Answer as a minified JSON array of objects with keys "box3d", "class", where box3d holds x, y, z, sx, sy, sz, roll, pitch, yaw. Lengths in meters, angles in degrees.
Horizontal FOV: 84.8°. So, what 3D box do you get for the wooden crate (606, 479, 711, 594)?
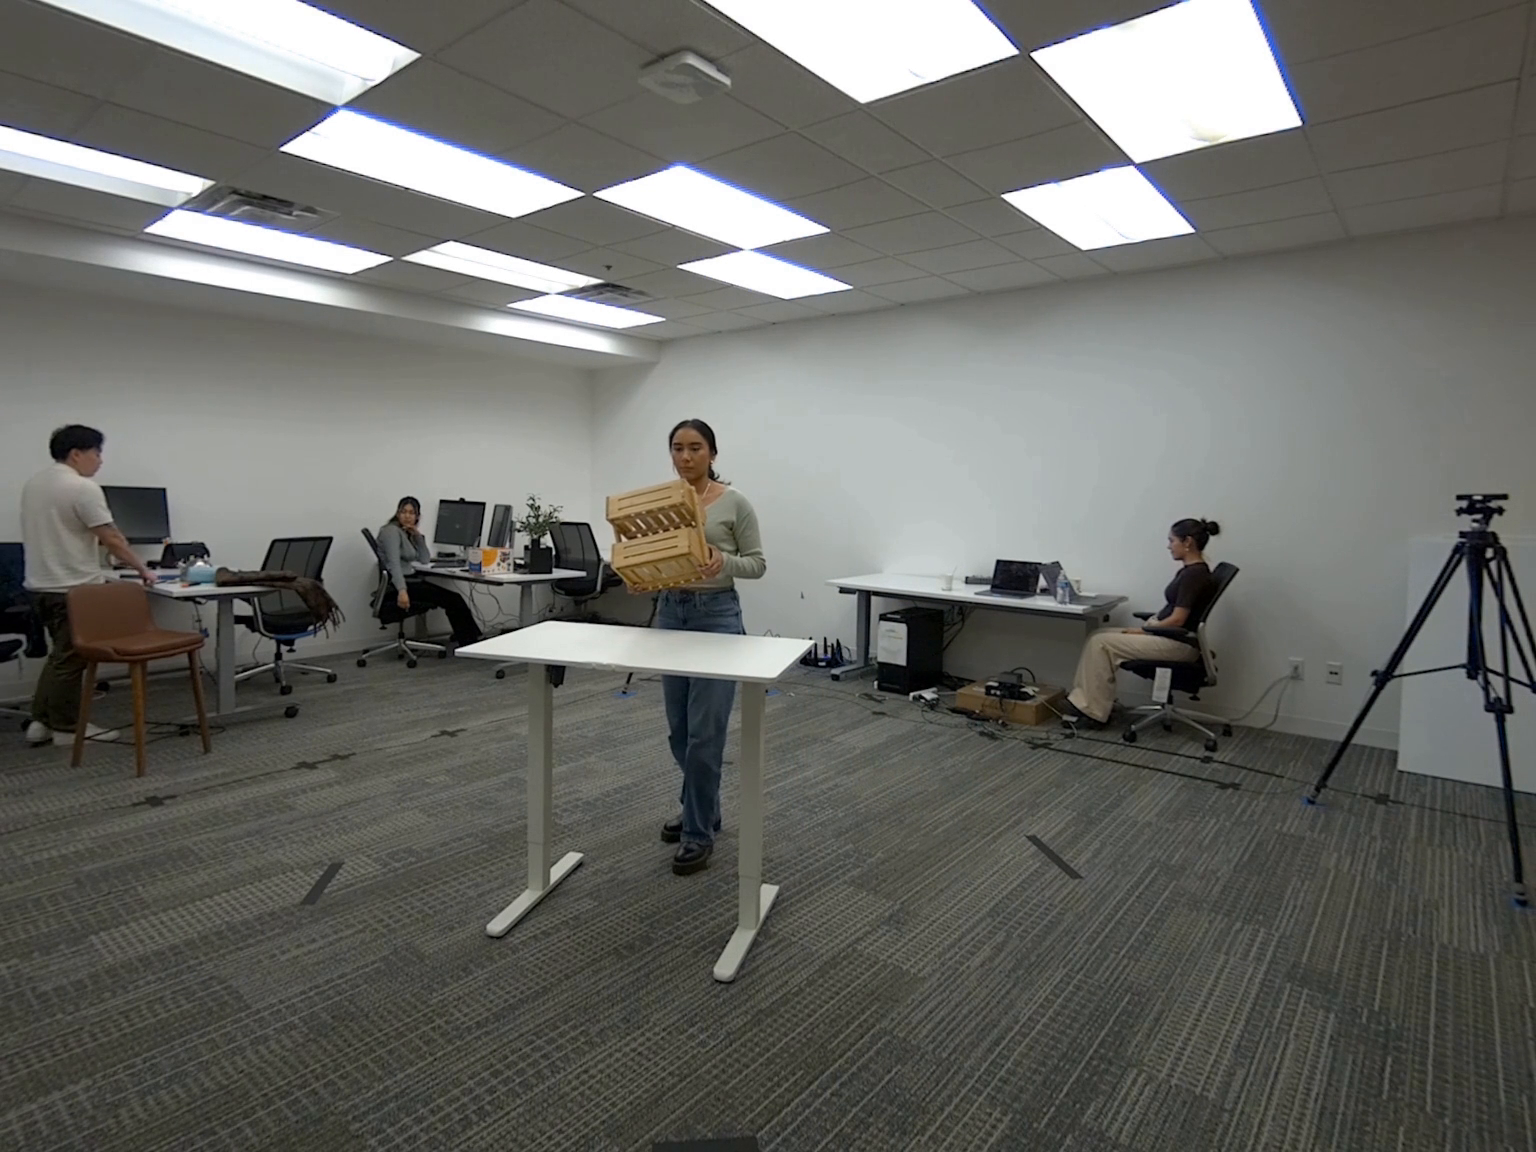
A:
[{"box3d":[-0.397,-0.138,3.039,0.328,0.280,0.291,-12,-28,13],"class":"wooden crate"}]
